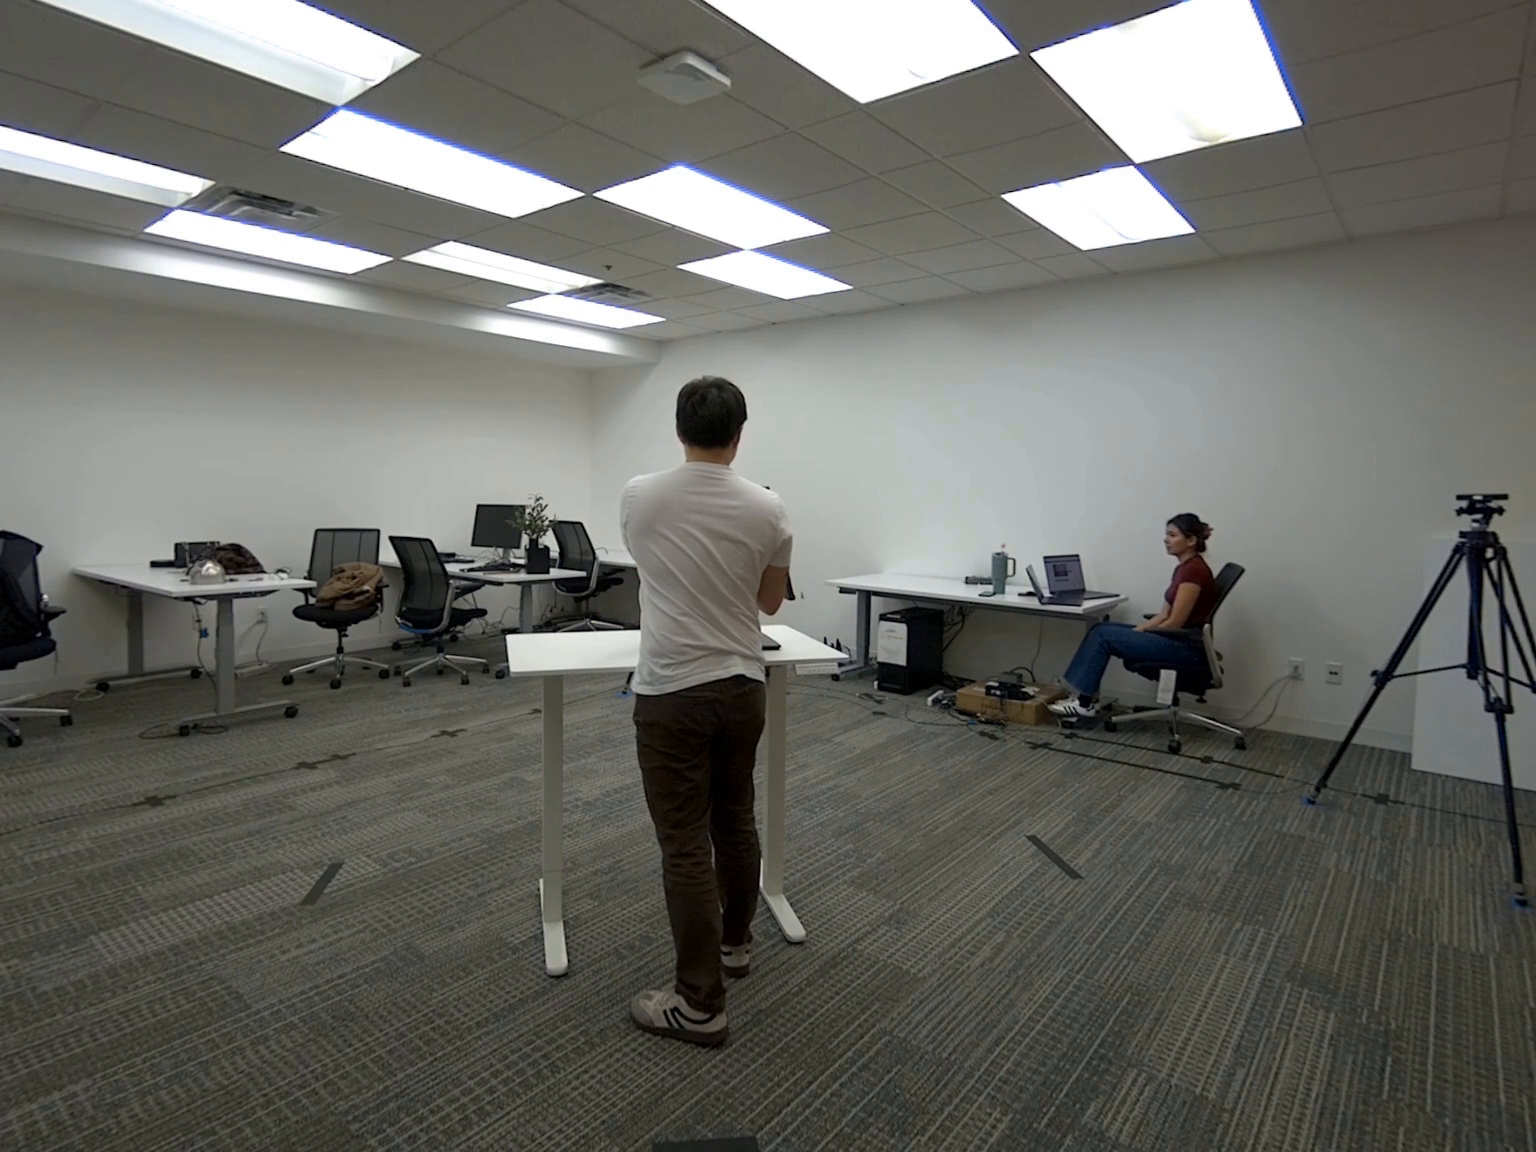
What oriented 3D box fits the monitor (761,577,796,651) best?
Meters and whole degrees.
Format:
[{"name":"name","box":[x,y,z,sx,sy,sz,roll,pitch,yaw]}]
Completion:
[{"name":"monitor","box":[-0.091,-0.036,2.775,0.184,0.520,0.551,-3,5,-20]}]
